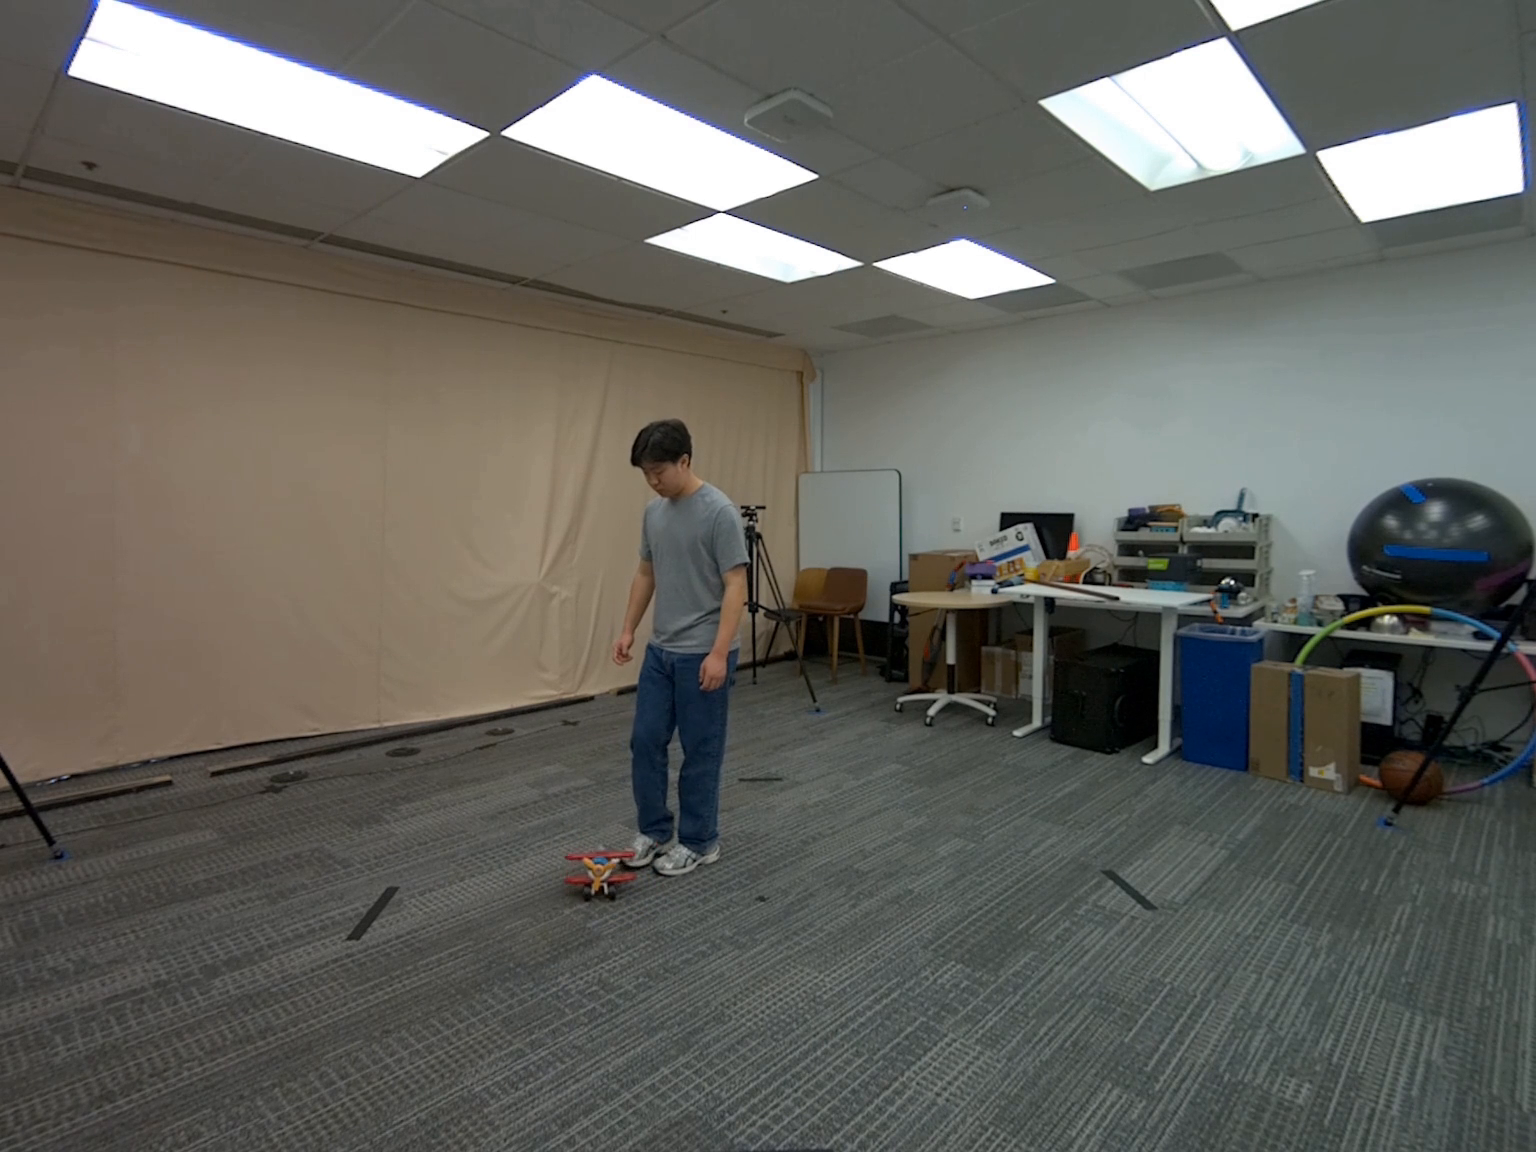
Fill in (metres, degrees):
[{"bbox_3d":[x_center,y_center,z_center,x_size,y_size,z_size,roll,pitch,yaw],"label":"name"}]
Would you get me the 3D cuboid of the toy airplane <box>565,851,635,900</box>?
[{"bbox_3d":[-0.624,1.065,3.065,0.244,0.156,0.267,-3,6,-33],"label":"toy airplane"}]
